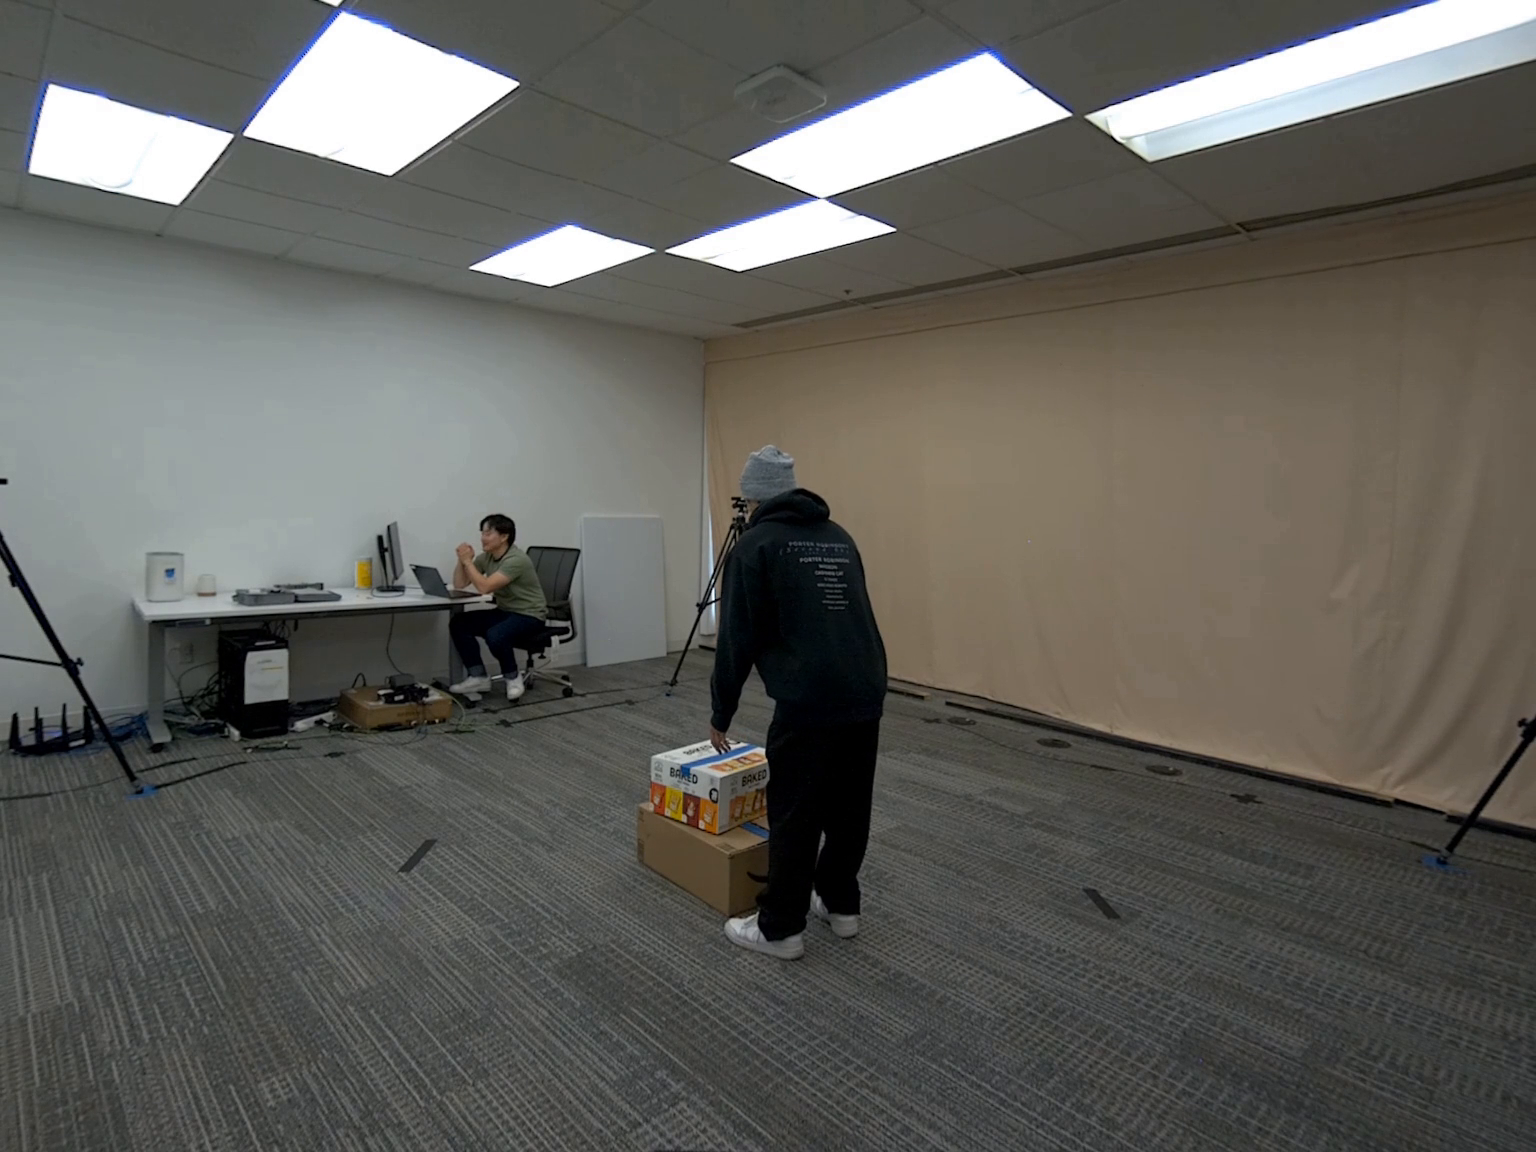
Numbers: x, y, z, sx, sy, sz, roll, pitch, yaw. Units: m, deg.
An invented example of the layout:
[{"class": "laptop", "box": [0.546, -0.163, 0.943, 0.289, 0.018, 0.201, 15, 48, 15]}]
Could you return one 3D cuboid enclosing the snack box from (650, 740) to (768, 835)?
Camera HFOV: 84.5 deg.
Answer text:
[{"class": "snack box", "box": [-0.190, 0.780, 3.179, 0.349, 0.205, 0.396, 6, 5, 39]}]
